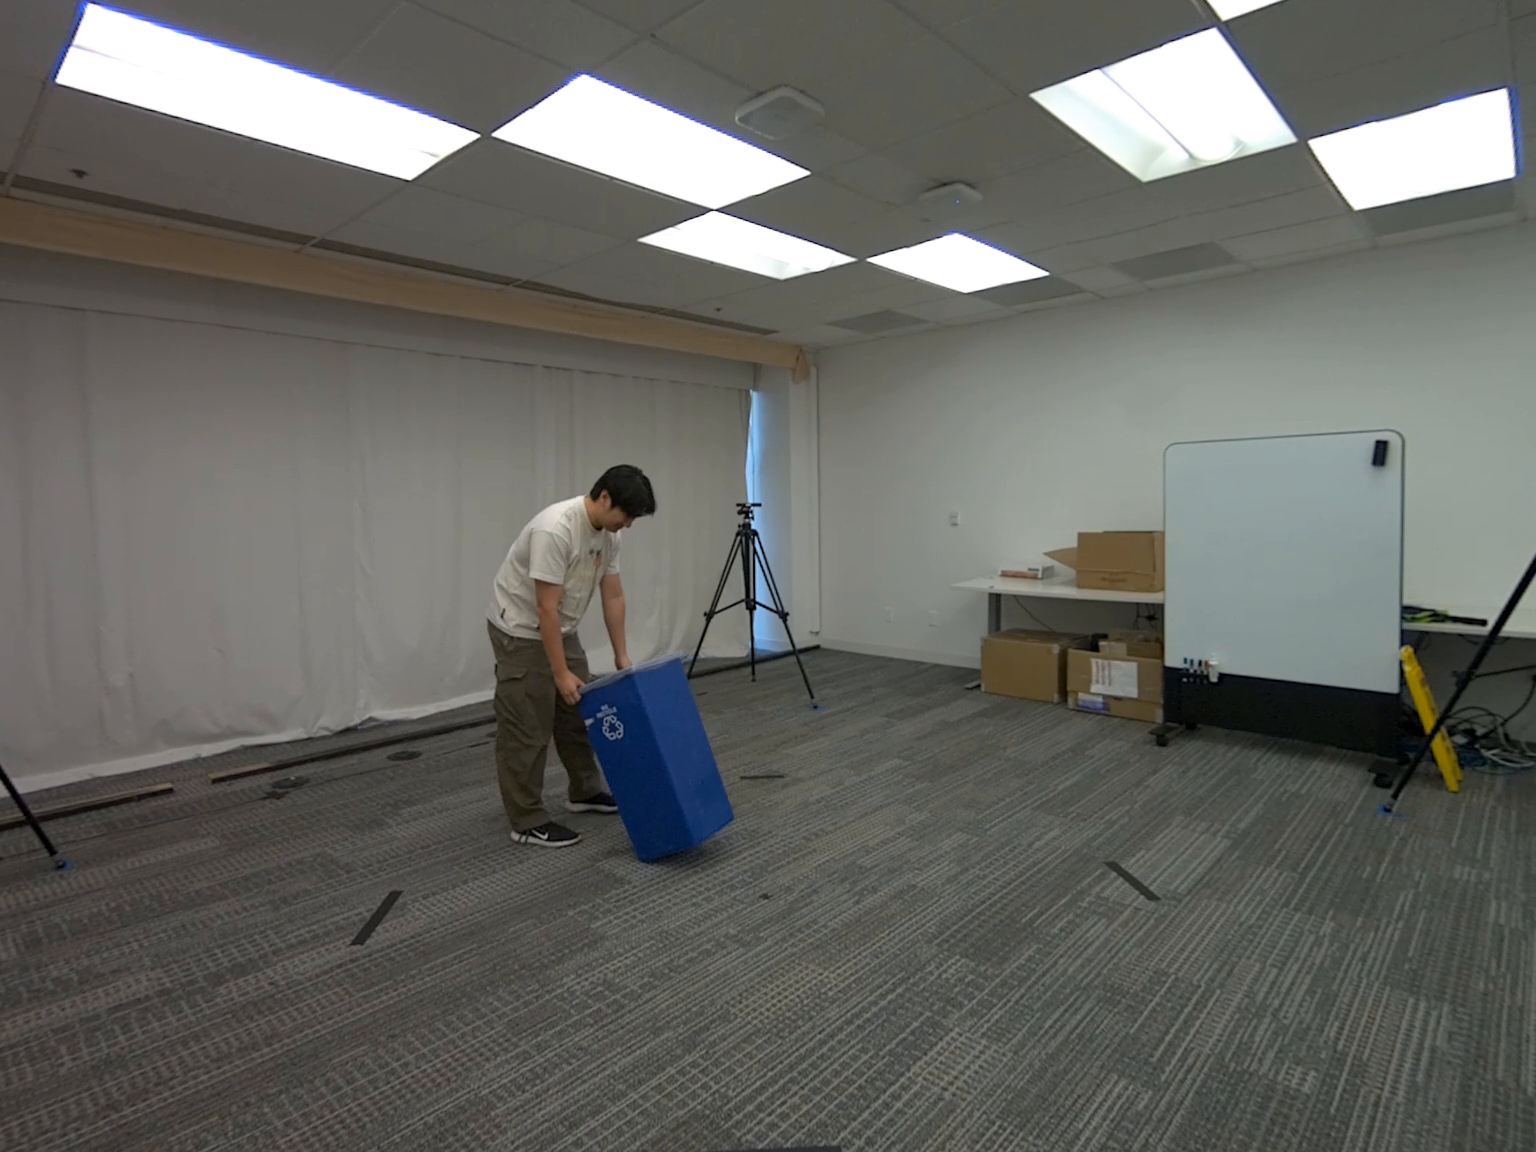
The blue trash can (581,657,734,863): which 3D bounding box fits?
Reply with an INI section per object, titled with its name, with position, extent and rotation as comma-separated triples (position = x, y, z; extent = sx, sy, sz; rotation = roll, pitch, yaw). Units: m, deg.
[blue trash can]
position = -0.445, 0.720, 3.393
extent = 0.380, 0.719, 0.368
rotation = -26, -9, 29
